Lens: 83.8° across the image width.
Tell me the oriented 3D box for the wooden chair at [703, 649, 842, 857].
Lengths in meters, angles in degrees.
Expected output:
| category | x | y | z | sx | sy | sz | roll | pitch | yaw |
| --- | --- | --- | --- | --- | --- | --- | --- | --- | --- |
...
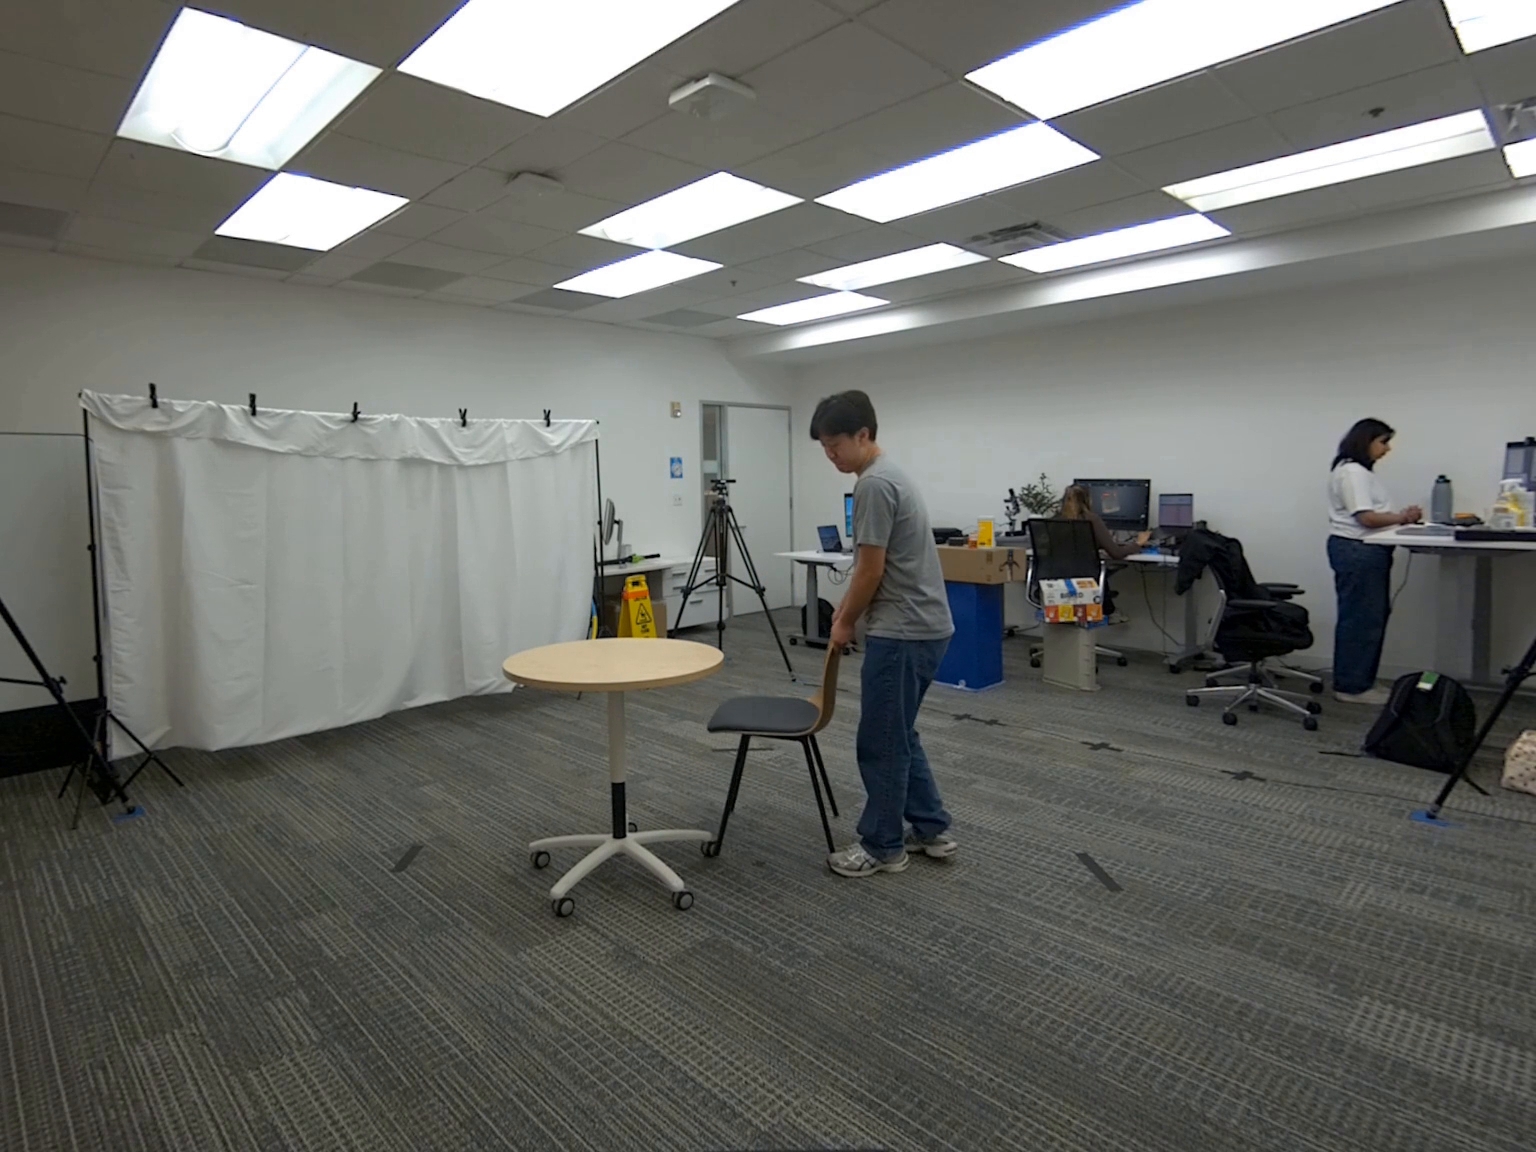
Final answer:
| category | x | y | z | sx | sy | sz | roll | pitch | yaw |
| --- | --- | --- | --- | --- | --- | --- | --- | --- | --- |
| wooden chair | 0.035 | 0.592 | 3.324 | 0.527 | 0.874 | 0.476 | 4 | 5 | 7 |
